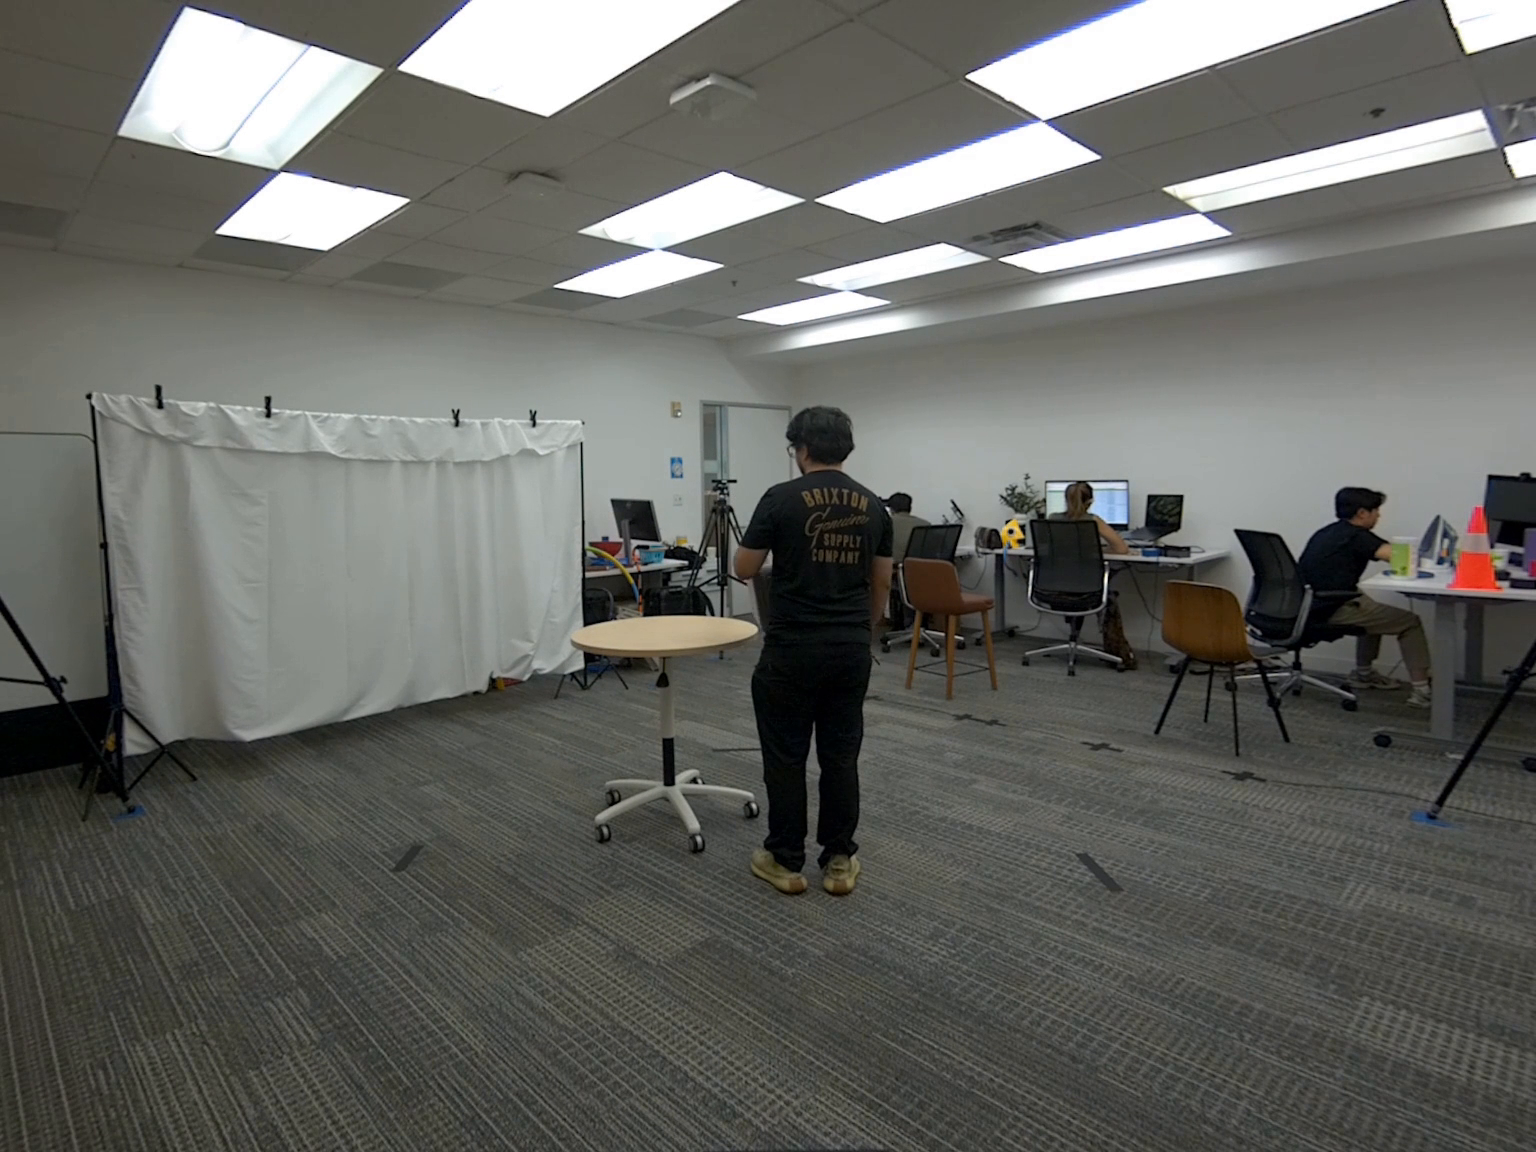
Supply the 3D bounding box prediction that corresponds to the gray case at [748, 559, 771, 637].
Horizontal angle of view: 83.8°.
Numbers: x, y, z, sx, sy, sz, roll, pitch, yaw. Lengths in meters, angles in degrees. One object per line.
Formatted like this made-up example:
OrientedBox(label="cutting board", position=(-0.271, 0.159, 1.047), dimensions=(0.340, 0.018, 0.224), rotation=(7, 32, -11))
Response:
OrientedBox(label="gray case", position=(-0.011, 0.056, 3.243), dimensions=(0.104, 0.257, 0.261), rotation=(-8, 14, -5))
